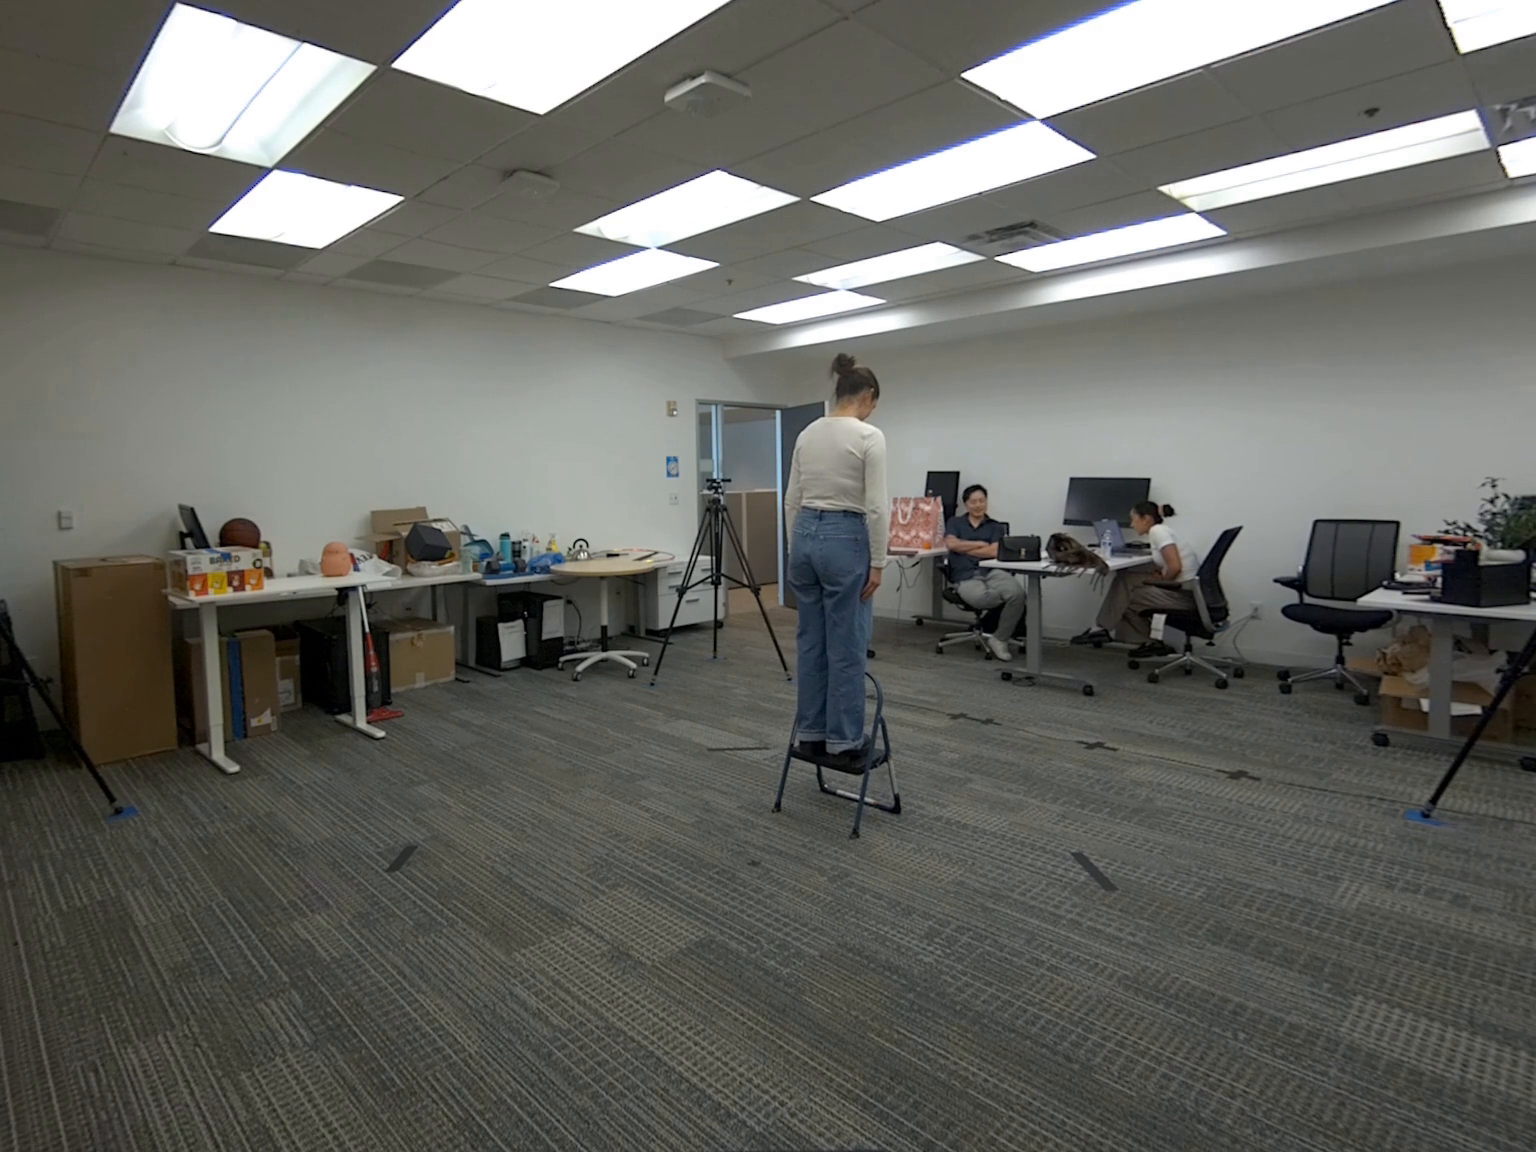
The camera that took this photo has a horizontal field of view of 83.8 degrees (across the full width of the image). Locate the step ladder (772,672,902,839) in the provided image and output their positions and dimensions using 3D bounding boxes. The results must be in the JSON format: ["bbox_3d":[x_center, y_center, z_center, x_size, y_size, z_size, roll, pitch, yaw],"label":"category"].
[{"bbox_3d":[0.288,0.687,3.551,0.444,0.604,0.340,4,5,42],"label":"step ladder"}]
